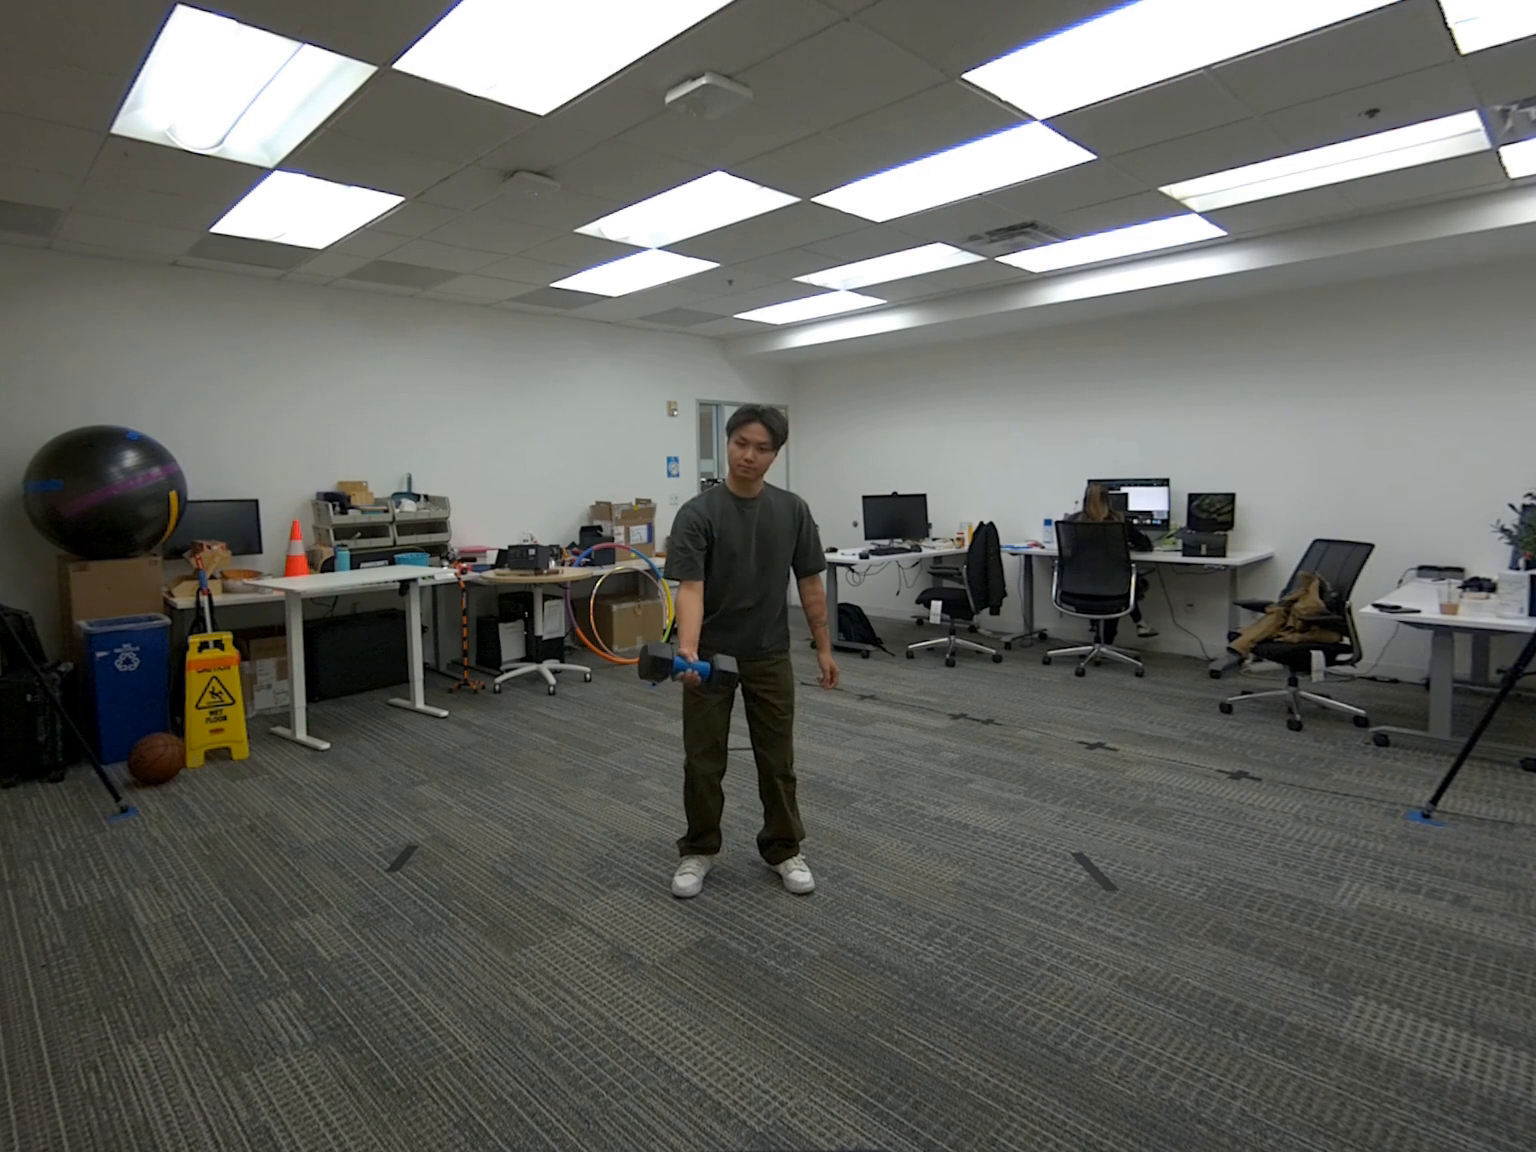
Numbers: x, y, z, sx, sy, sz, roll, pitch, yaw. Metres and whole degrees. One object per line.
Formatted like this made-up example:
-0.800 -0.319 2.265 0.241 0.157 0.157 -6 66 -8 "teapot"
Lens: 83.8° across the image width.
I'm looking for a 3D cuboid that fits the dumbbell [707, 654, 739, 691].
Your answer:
-0.237 0.281 2.551 0.286 0.111 0.124 15 -25 -22 "dumbbell"
